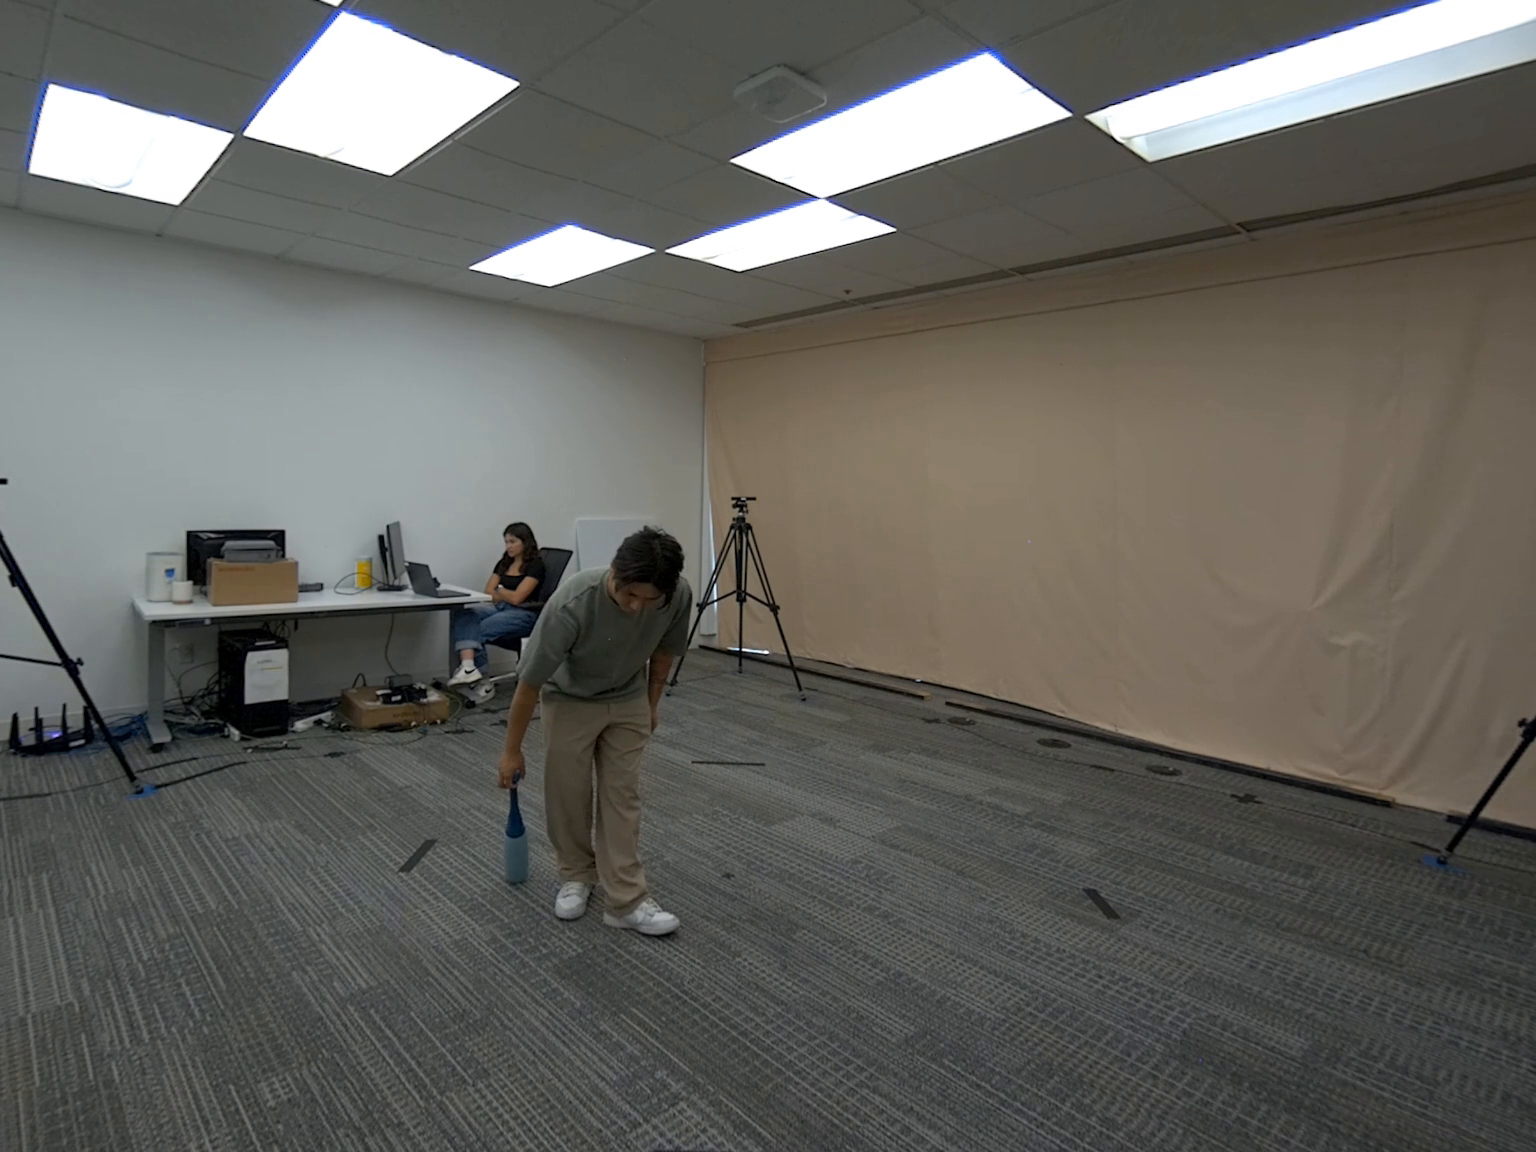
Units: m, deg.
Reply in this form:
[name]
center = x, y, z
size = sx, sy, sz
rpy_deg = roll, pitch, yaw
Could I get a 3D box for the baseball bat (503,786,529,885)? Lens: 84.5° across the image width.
[baseball bat]
center = -0.874, 0.868, 2.891
size = 0.089, 0.533, 0.091
rpy_deg = 5, 34, -5
